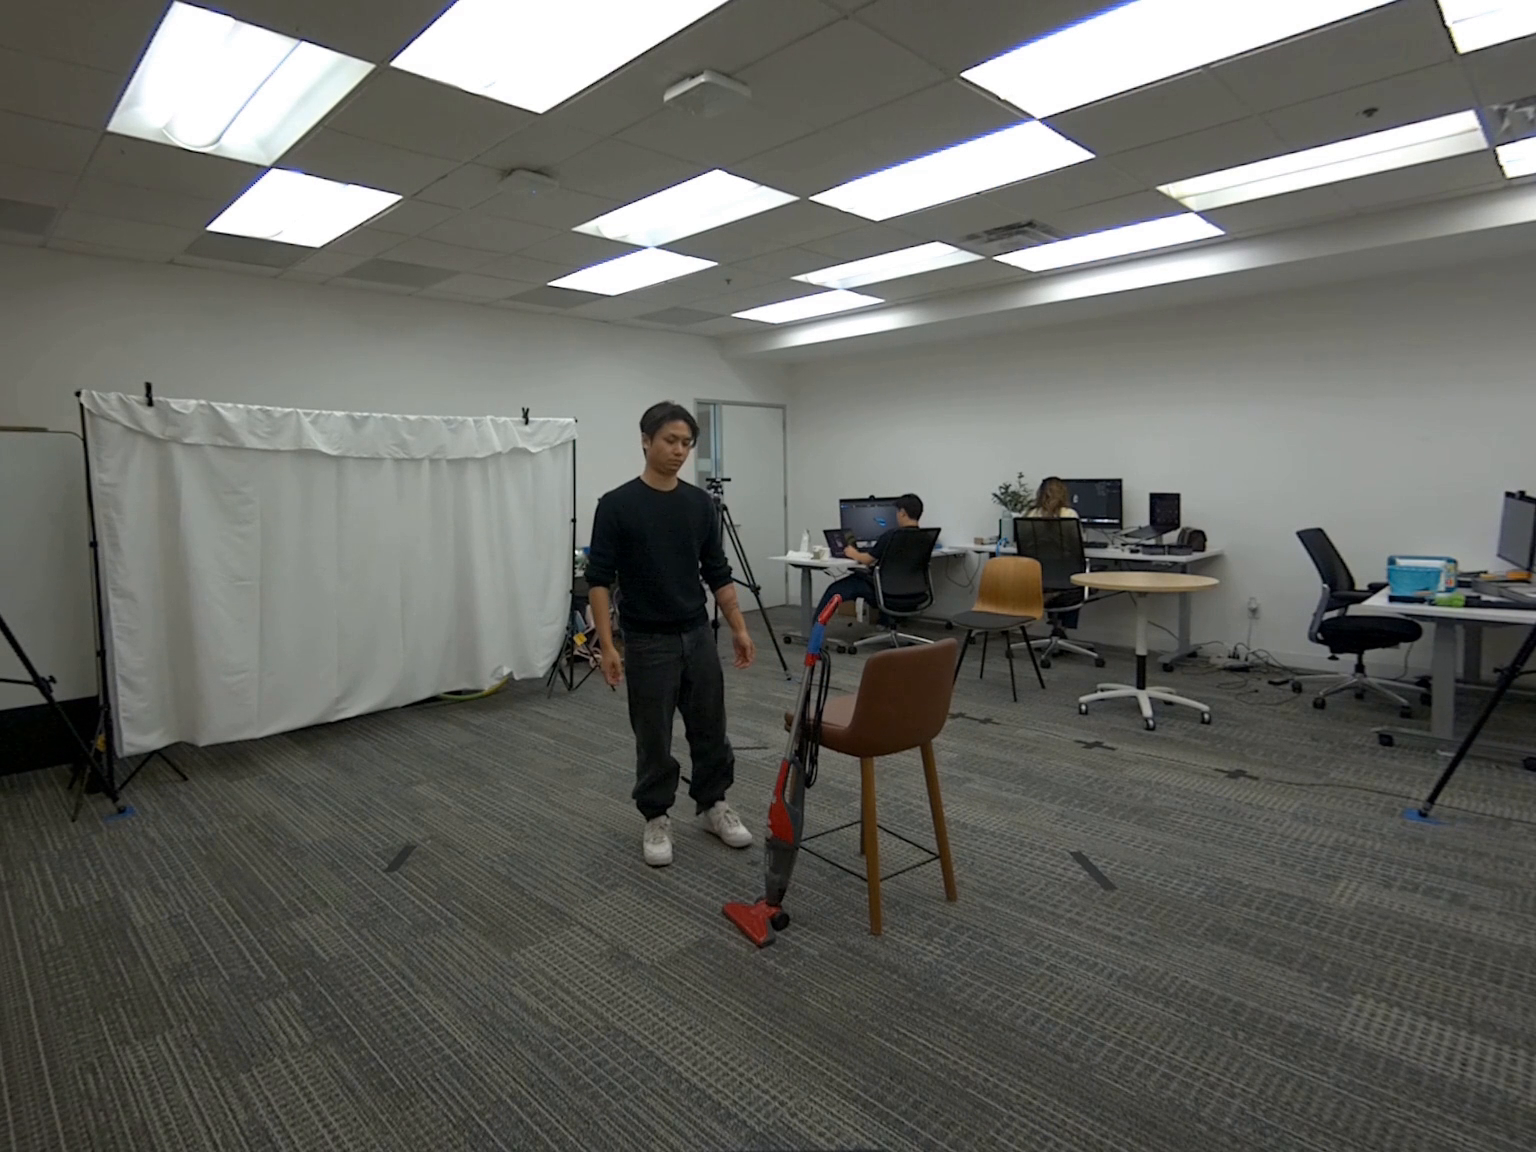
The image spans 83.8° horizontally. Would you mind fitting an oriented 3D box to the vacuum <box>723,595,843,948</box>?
[{"bbox_3d":[0.108,0.583,2.715,0.139,1.052,0.260,16,-5,-32],"label":"vacuum"}]
